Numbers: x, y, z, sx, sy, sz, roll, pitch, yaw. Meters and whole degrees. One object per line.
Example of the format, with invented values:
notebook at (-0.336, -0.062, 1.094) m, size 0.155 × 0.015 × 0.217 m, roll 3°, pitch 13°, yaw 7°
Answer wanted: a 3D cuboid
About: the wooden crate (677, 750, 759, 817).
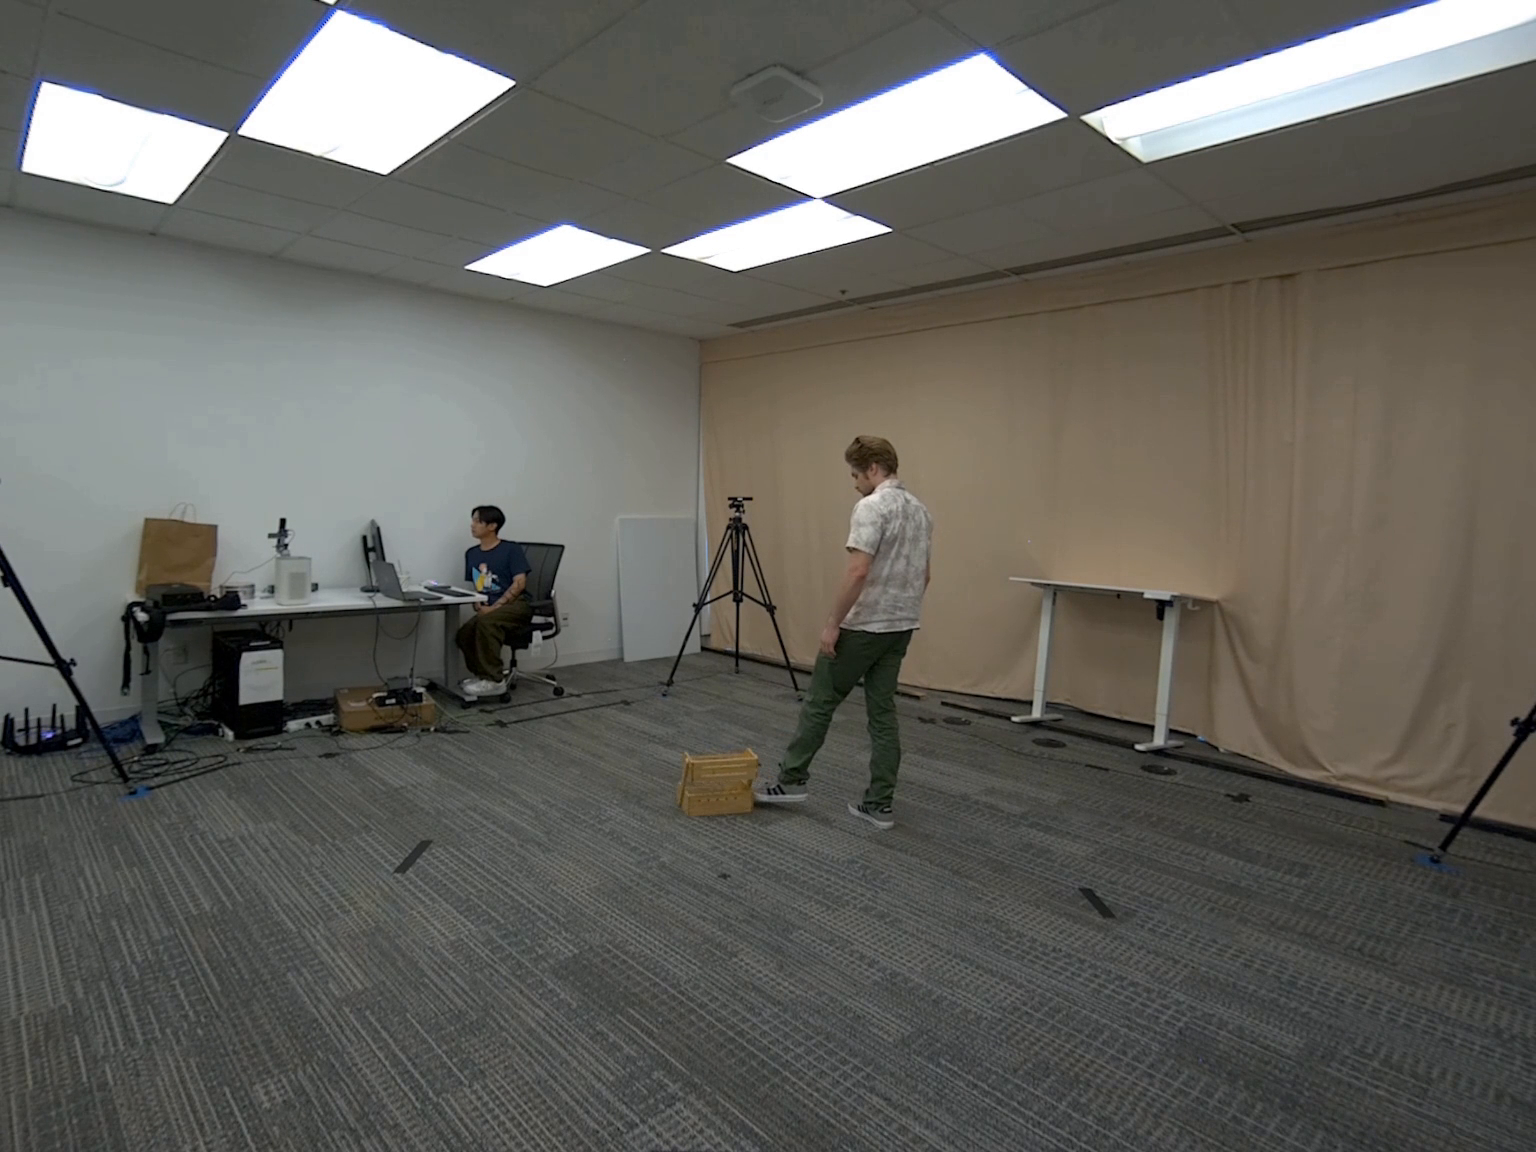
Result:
wooden crate at (-0.244, 0.910, 3.818) m, size 0.320 × 0.272 × 0.307 m, roll 0°, pitch 4°, yaw -17°
